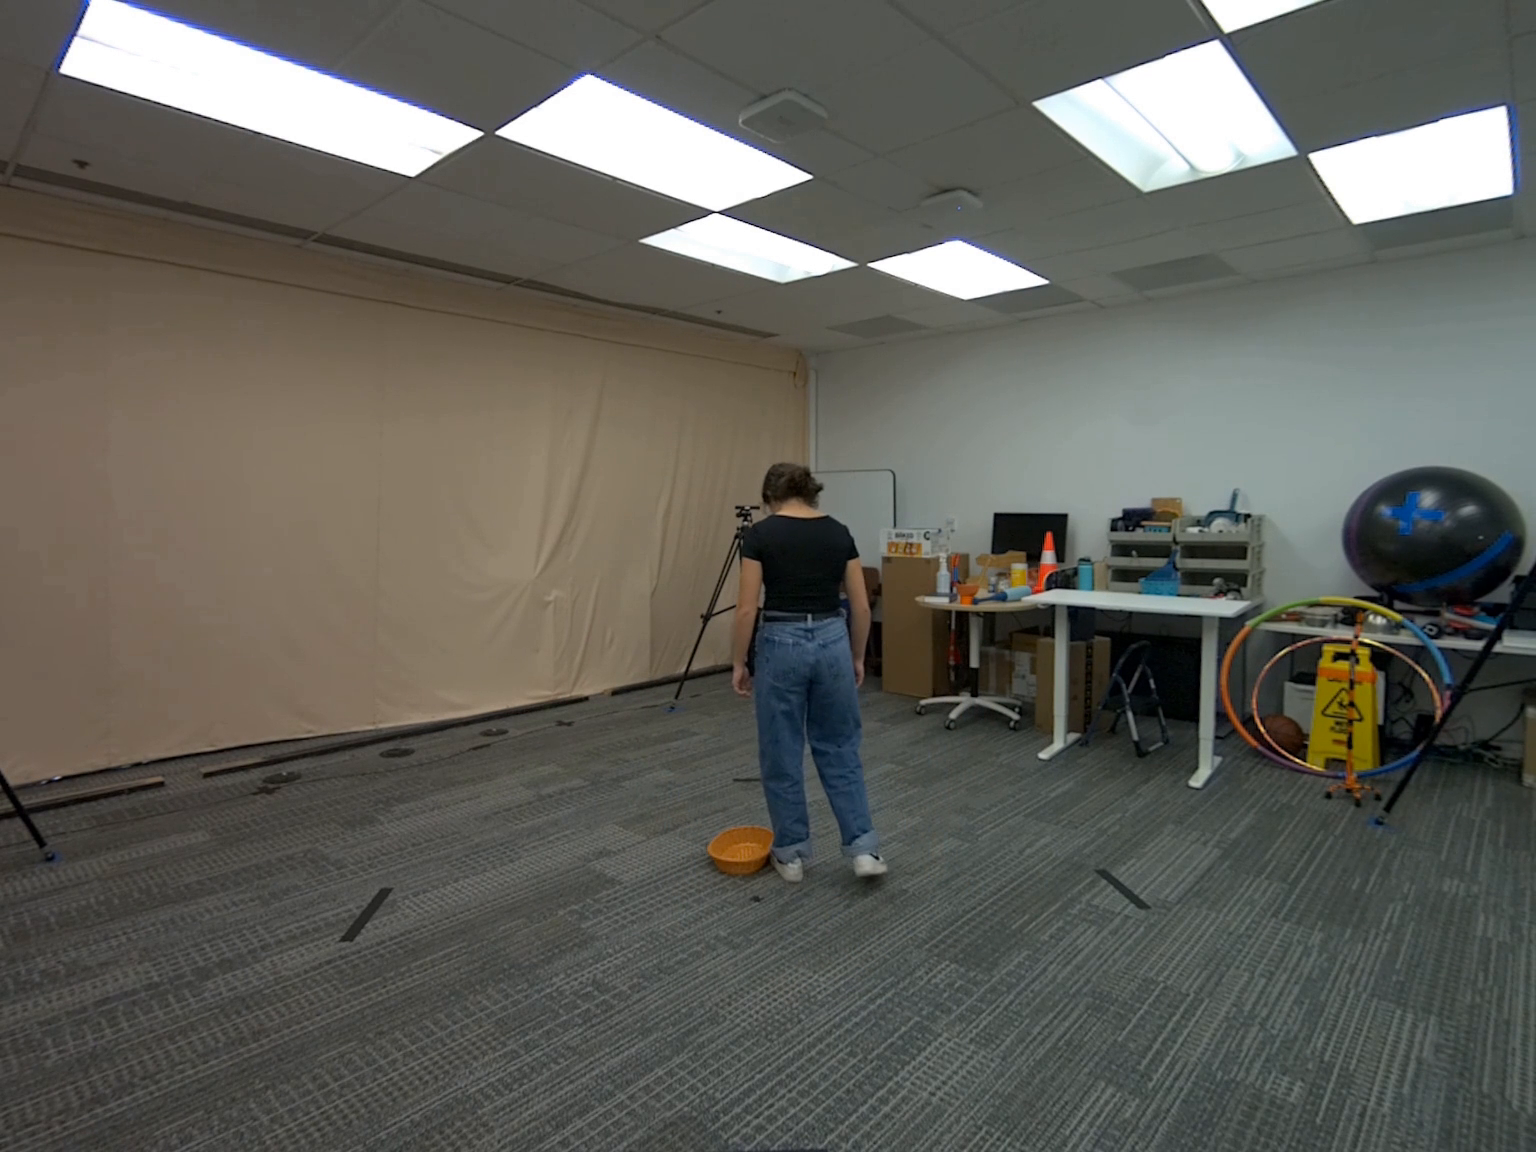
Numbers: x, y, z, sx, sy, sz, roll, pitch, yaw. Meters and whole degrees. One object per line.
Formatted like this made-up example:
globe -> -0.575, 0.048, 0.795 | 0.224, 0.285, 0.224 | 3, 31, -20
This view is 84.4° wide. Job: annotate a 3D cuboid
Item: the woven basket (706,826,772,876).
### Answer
woven basket -> -0.096, 1.078, 3.308 | 0.258, 0.073, 0.343 | 0, 5, 21
